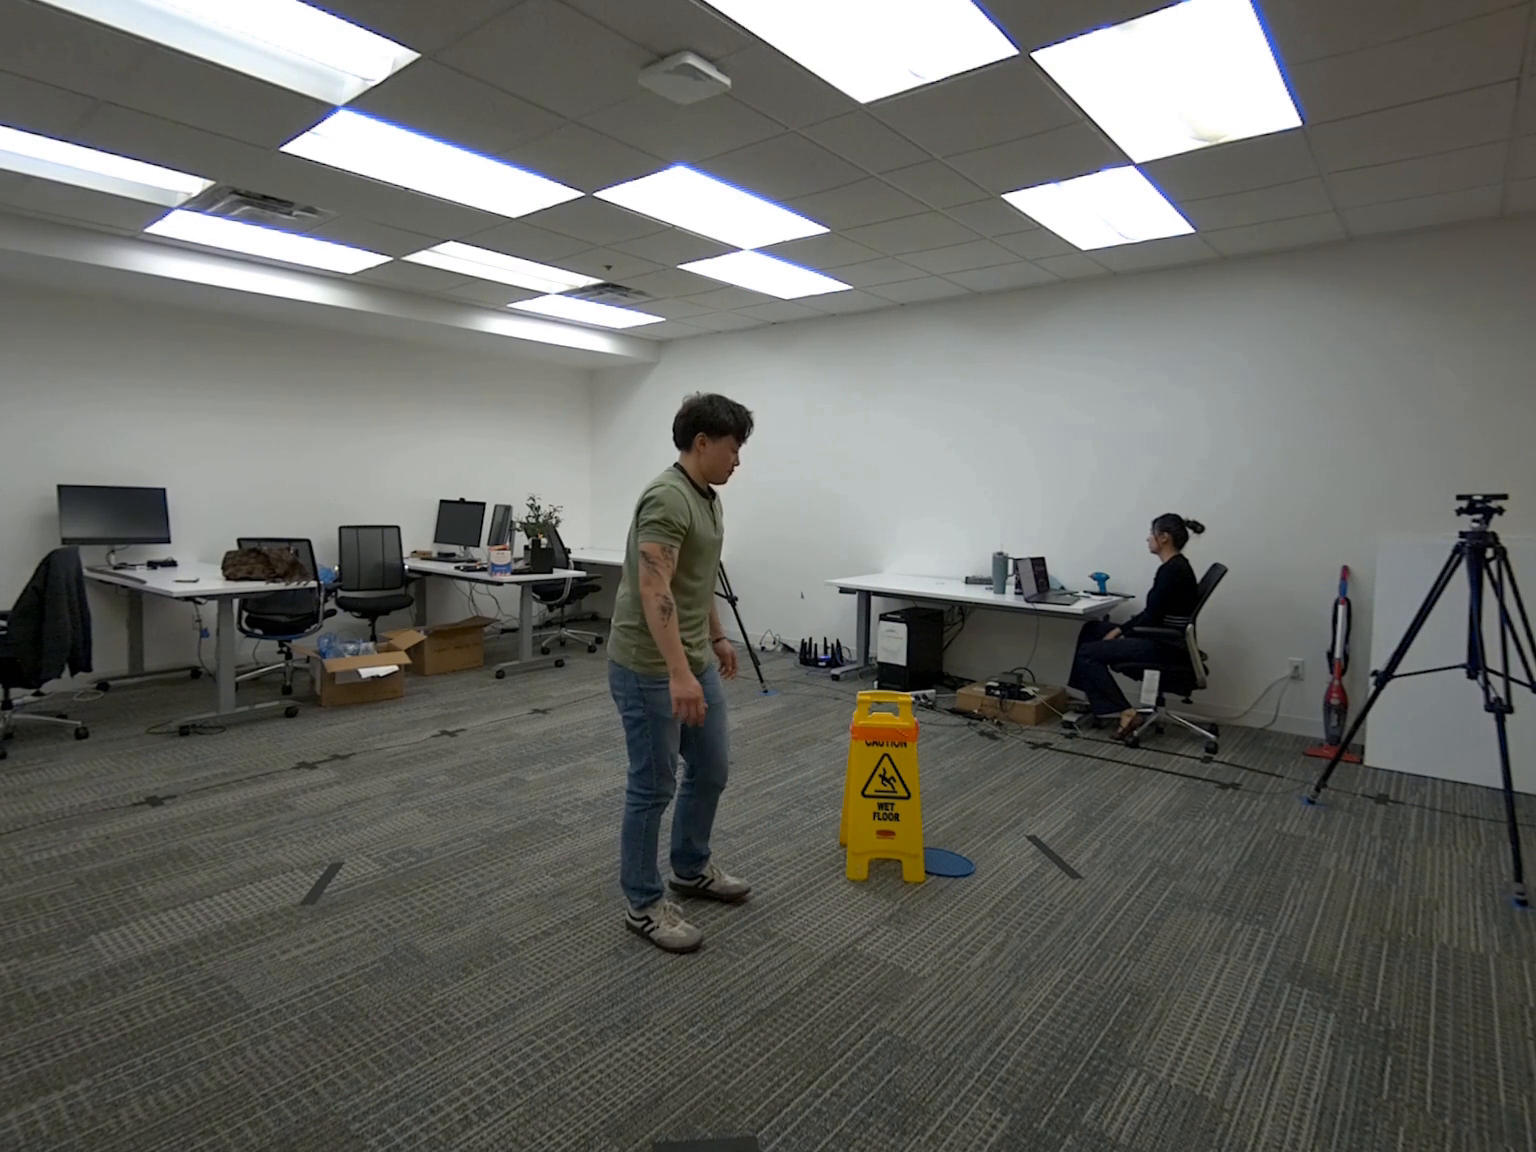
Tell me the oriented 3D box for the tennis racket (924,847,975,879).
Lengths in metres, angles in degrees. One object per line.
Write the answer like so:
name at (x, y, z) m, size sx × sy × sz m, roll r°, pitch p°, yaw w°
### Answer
tennis racket at (0.698, 1.072, 3.148) m, size 0.447 × 0.031 × 0.208 m, roll 6°, pitch 9°, yaw 33°
